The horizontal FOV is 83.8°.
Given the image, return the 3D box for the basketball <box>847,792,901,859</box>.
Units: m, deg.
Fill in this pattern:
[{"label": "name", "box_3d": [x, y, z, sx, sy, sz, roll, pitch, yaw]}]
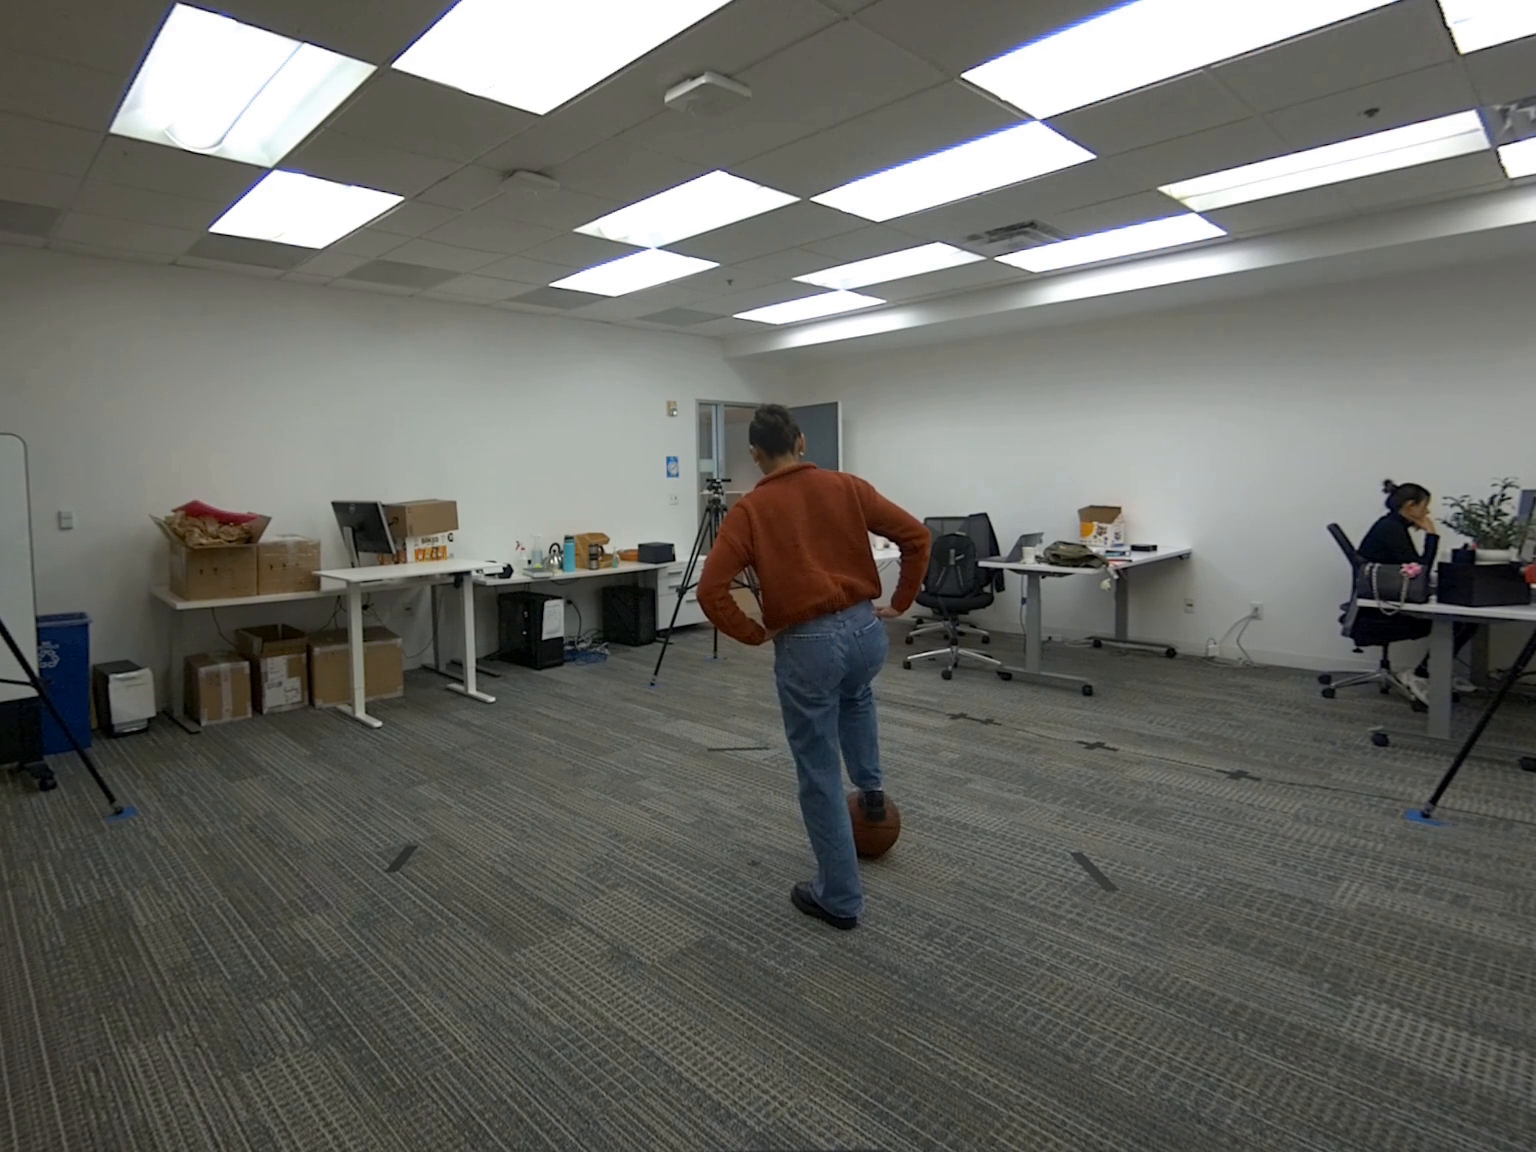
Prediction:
[{"label": "basketball", "box_3d": [0.376, 0.912, 3.177, 0.236, 0.235, 0.237, -1, 5, -2]}]
